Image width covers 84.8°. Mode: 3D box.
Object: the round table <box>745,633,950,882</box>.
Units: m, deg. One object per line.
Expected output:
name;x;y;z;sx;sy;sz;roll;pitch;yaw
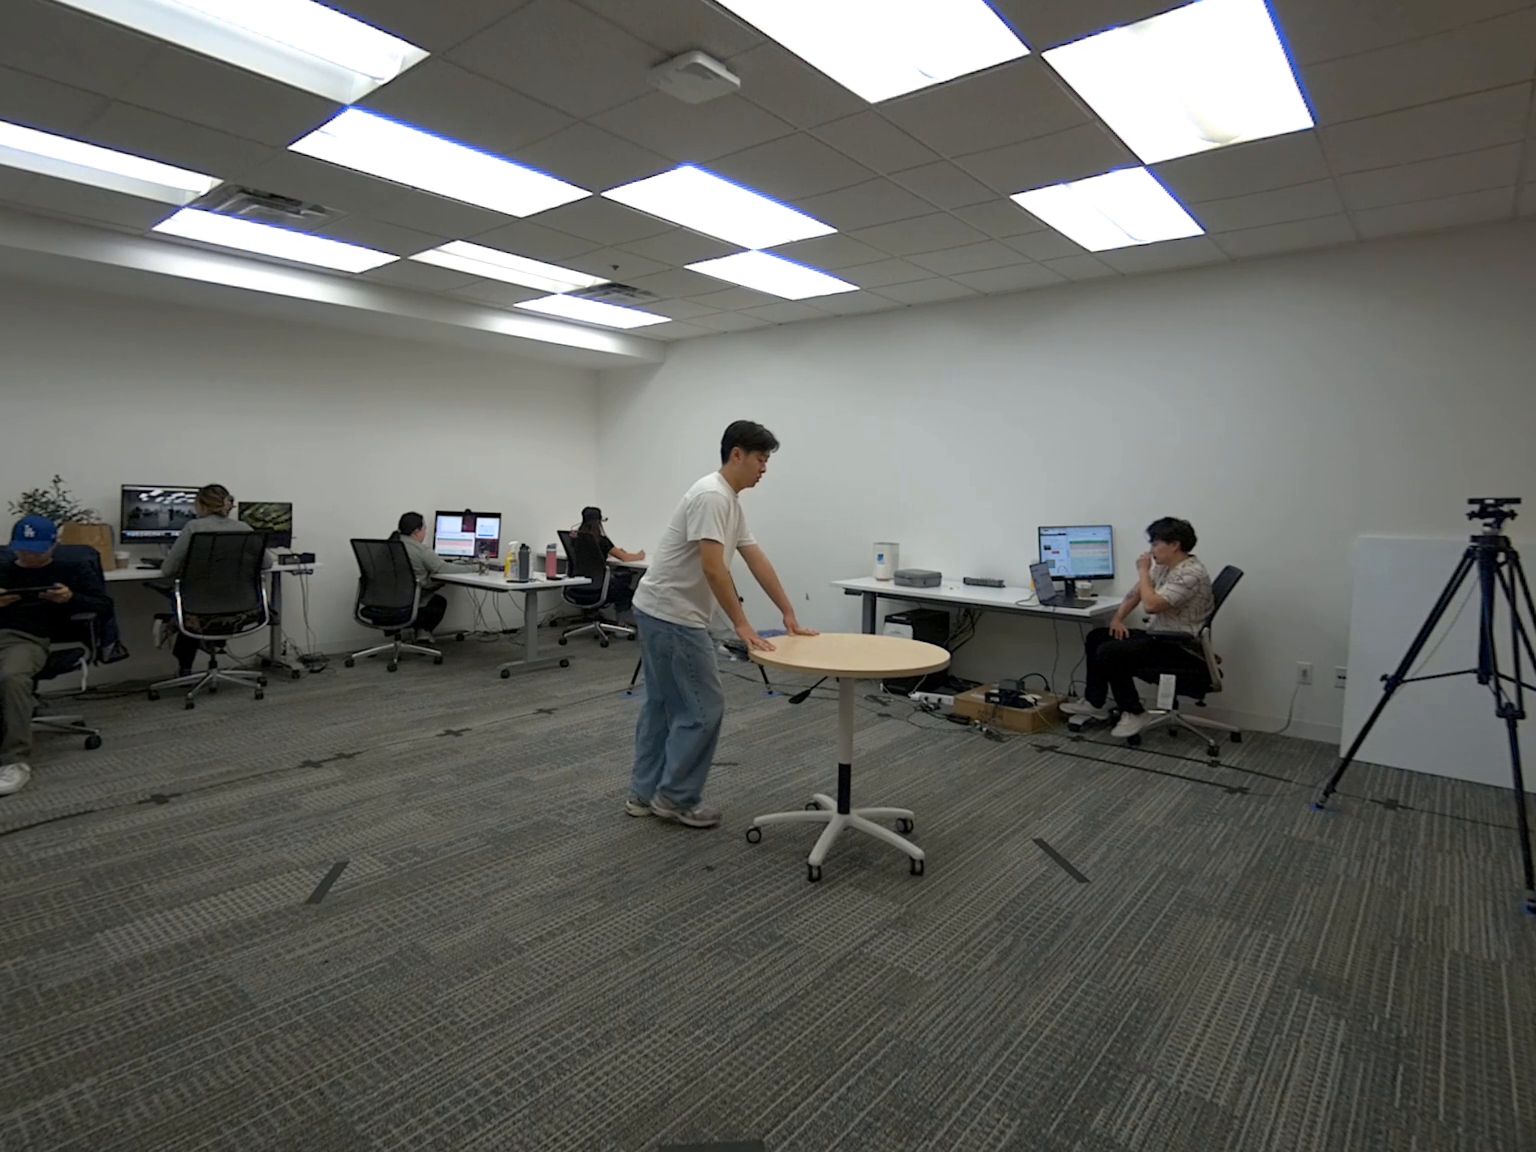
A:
round table;0.281;0.672;3.299;0.763;0.791;0.768;1;4;-2
